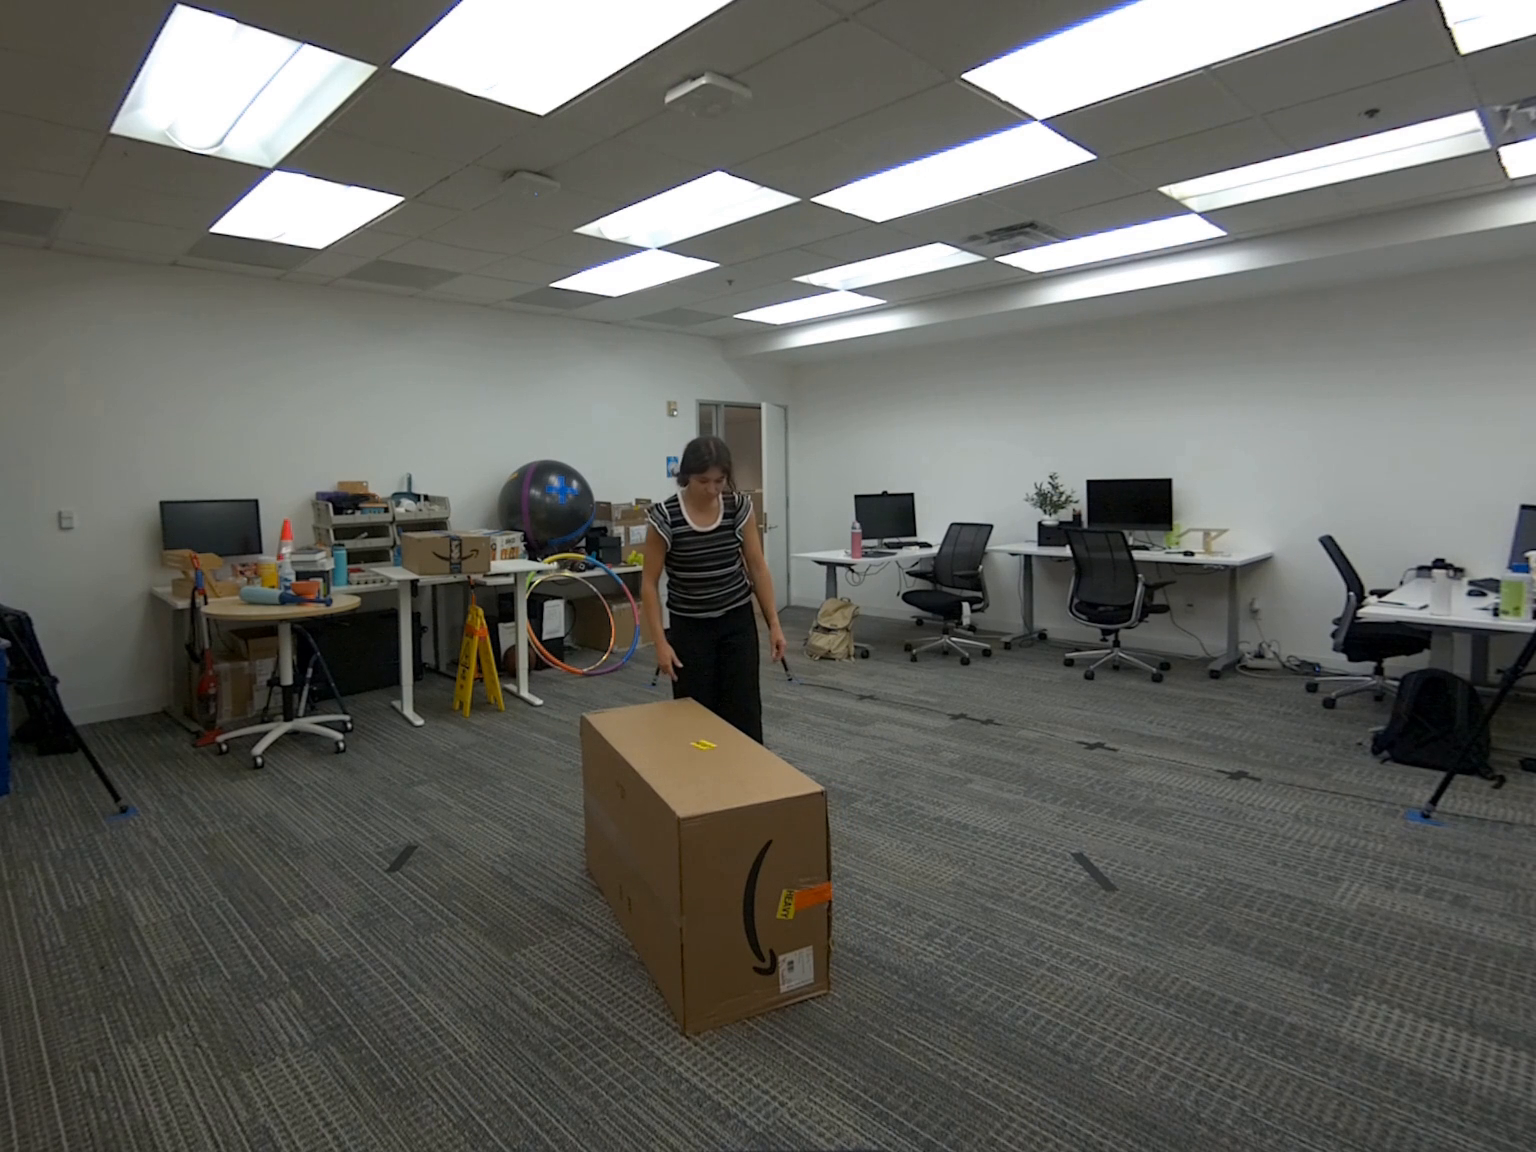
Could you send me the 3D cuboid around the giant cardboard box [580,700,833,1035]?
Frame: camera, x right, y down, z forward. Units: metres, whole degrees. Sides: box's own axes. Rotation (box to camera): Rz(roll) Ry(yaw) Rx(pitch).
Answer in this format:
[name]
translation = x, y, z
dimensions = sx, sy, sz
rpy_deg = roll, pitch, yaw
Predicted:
[giant cardboard box]
translation = -0.245, 0.809, 2.677
dimensions = 0.417, 0.575, 1.052
rpy_deg = -3, 6, -25
